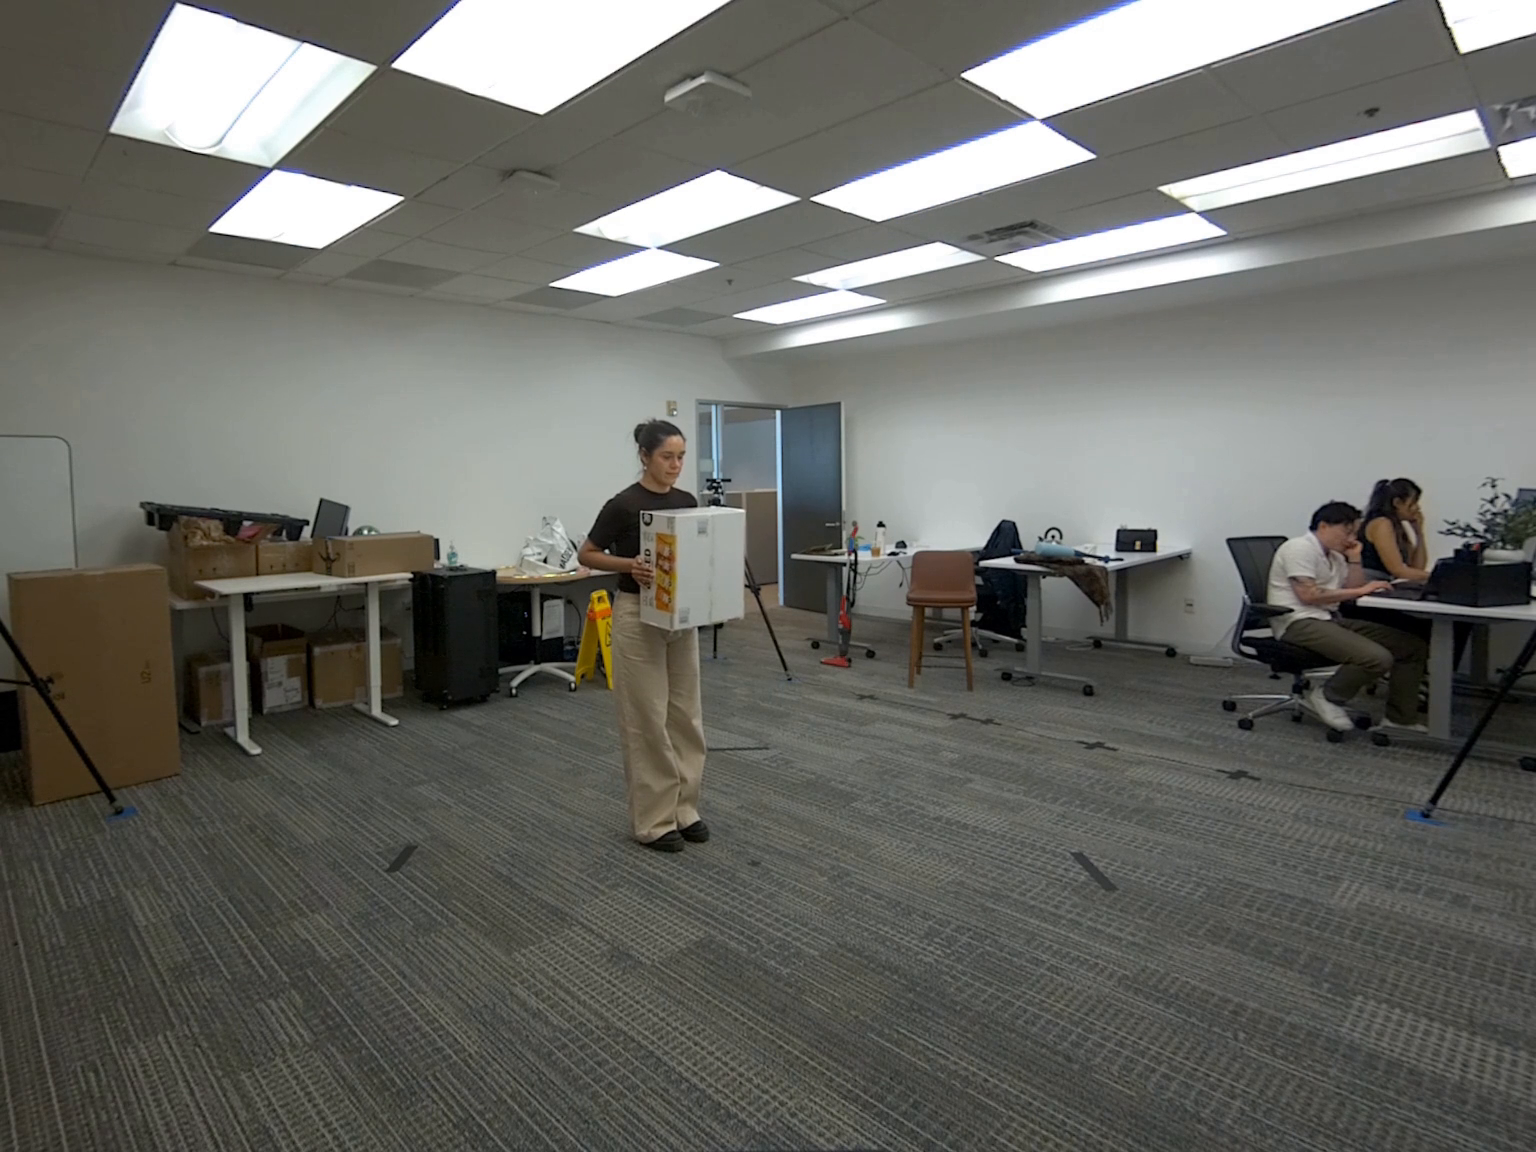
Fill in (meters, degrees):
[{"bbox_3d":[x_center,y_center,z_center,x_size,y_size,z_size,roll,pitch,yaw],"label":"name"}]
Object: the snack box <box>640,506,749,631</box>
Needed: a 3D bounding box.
[{"bbox_3d":[-0.270,-0.037,3.139,0.331,0.402,0.212,-6,11,-42],"label":"snack box"}]
